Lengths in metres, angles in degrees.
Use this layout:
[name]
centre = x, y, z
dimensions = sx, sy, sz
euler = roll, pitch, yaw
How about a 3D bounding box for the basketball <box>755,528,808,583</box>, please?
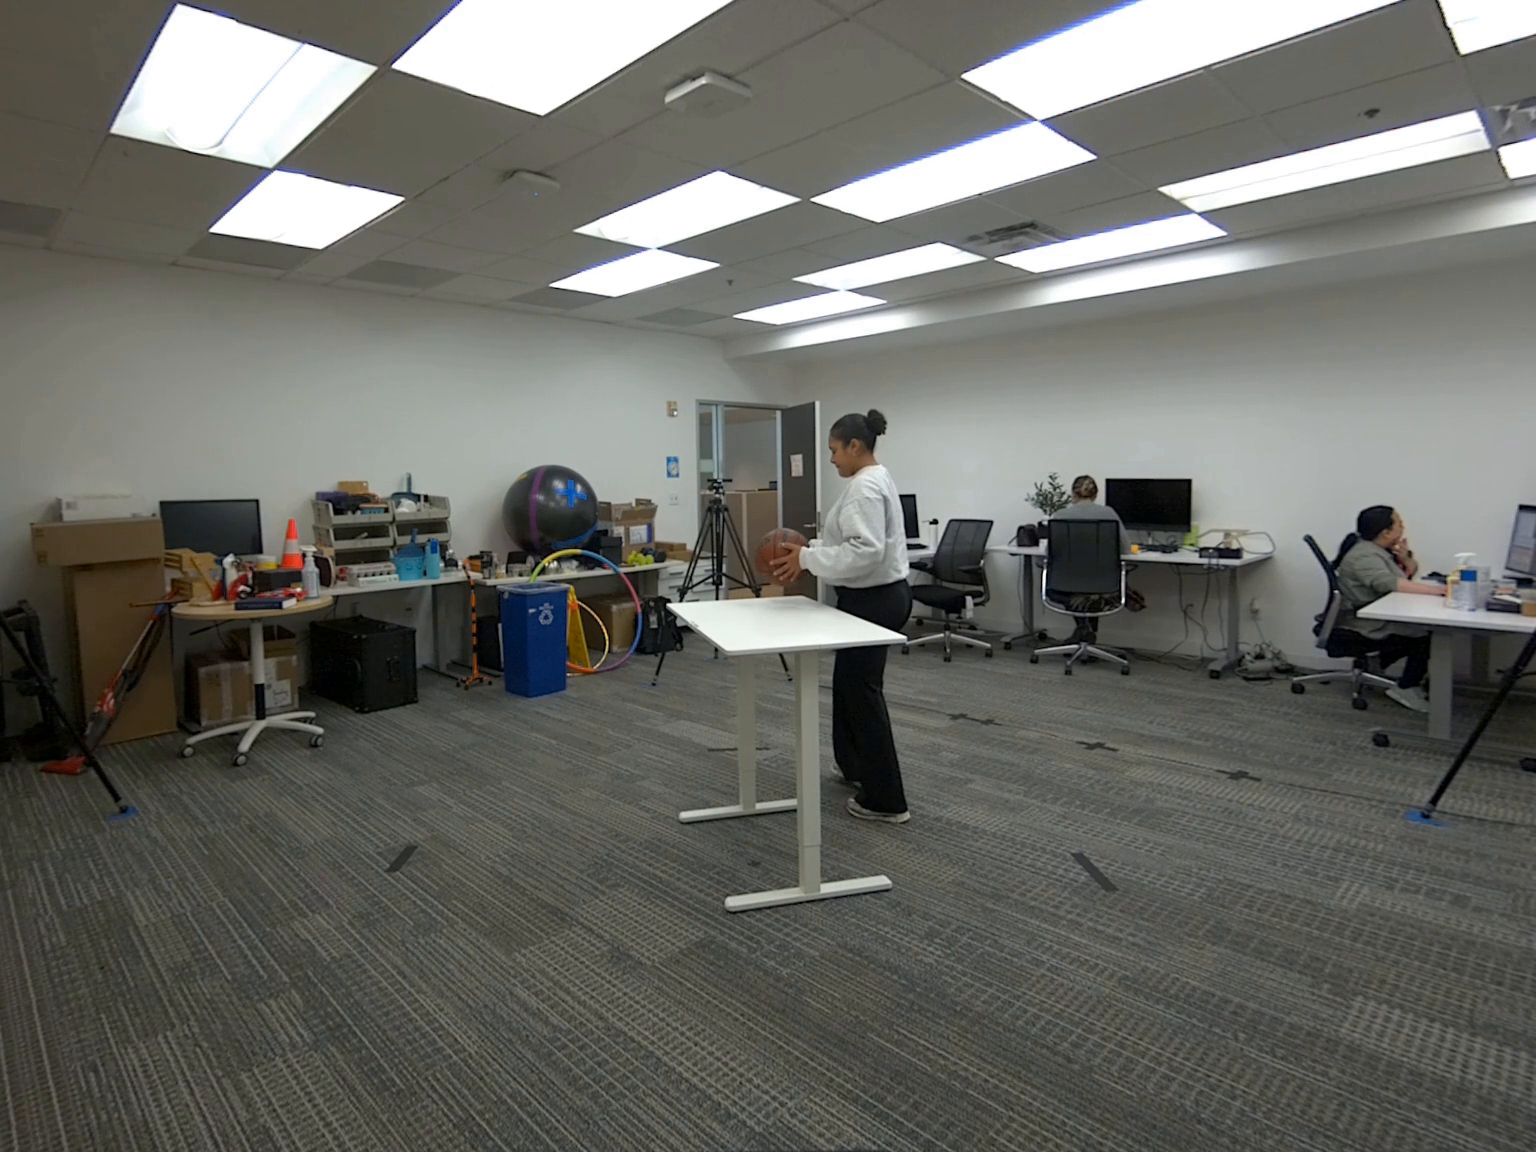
[basketball]
centre = 0.073, -0.075, 3.522
dimensions = 0.236, 0.235, 0.237
euler = -1, 5, -2
